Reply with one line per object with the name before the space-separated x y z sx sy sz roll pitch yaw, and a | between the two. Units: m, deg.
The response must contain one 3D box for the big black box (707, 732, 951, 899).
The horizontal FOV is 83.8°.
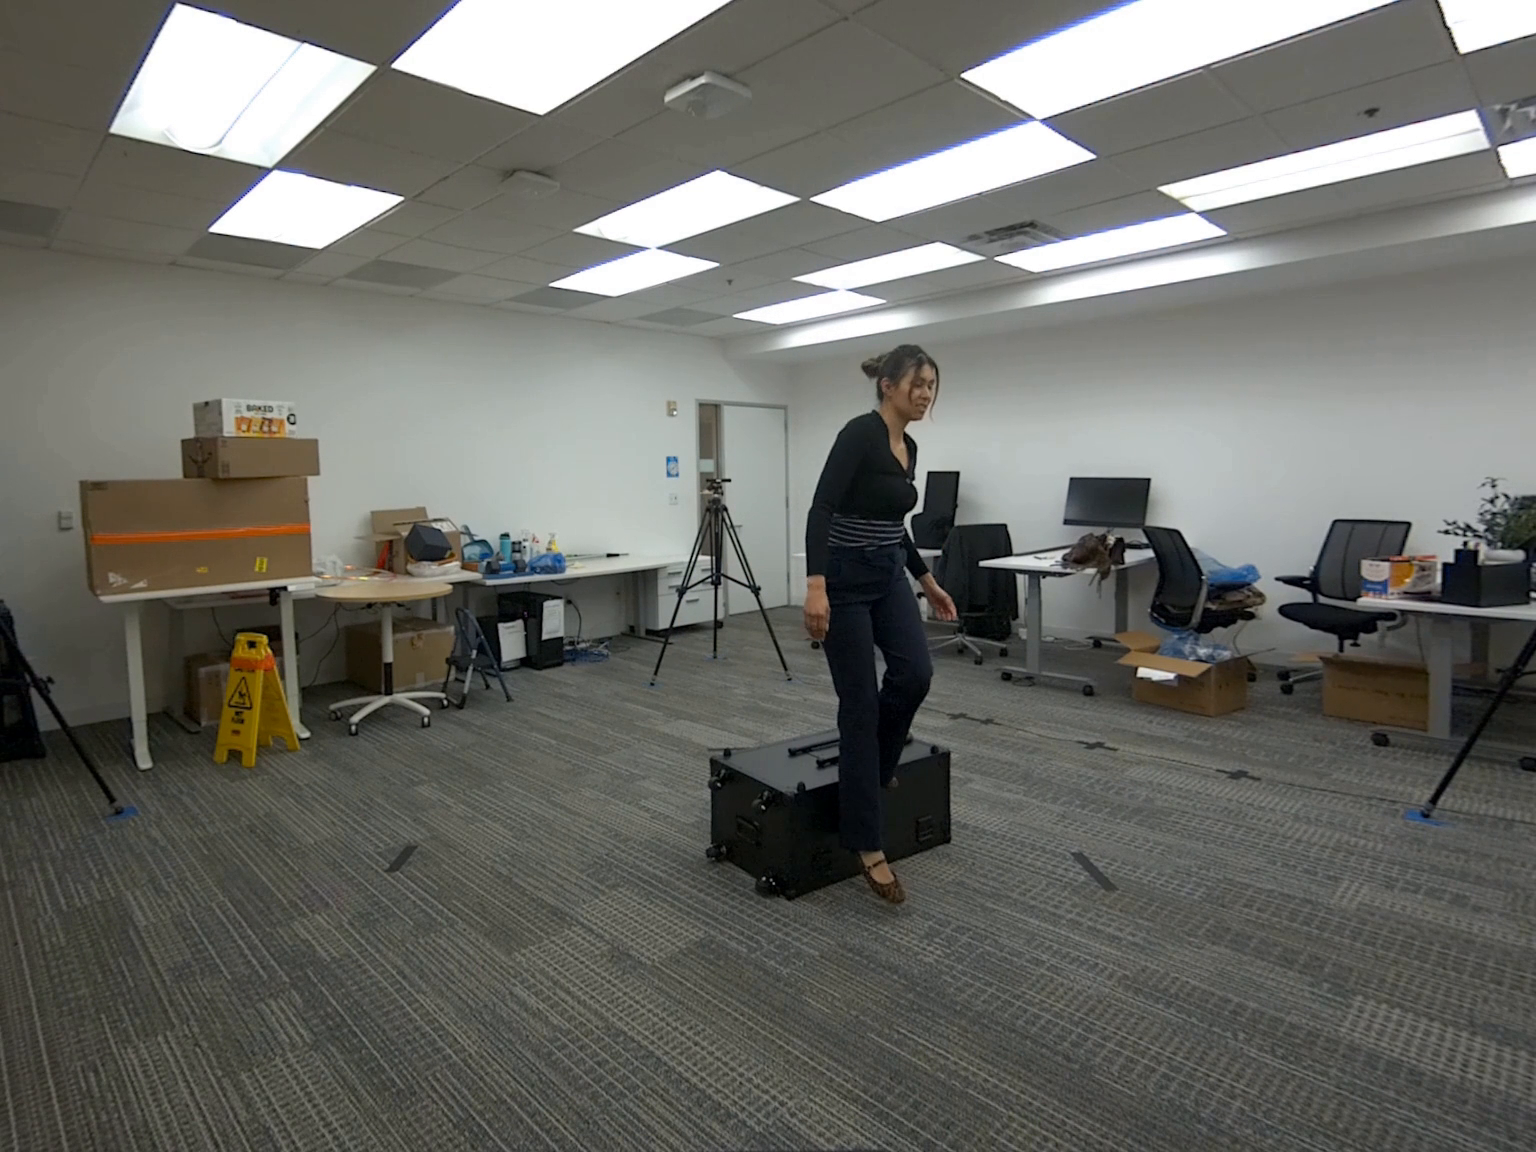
big black box | 0.262 0.850 3.241 0.840 0.394 0.537 -5 7 -35
